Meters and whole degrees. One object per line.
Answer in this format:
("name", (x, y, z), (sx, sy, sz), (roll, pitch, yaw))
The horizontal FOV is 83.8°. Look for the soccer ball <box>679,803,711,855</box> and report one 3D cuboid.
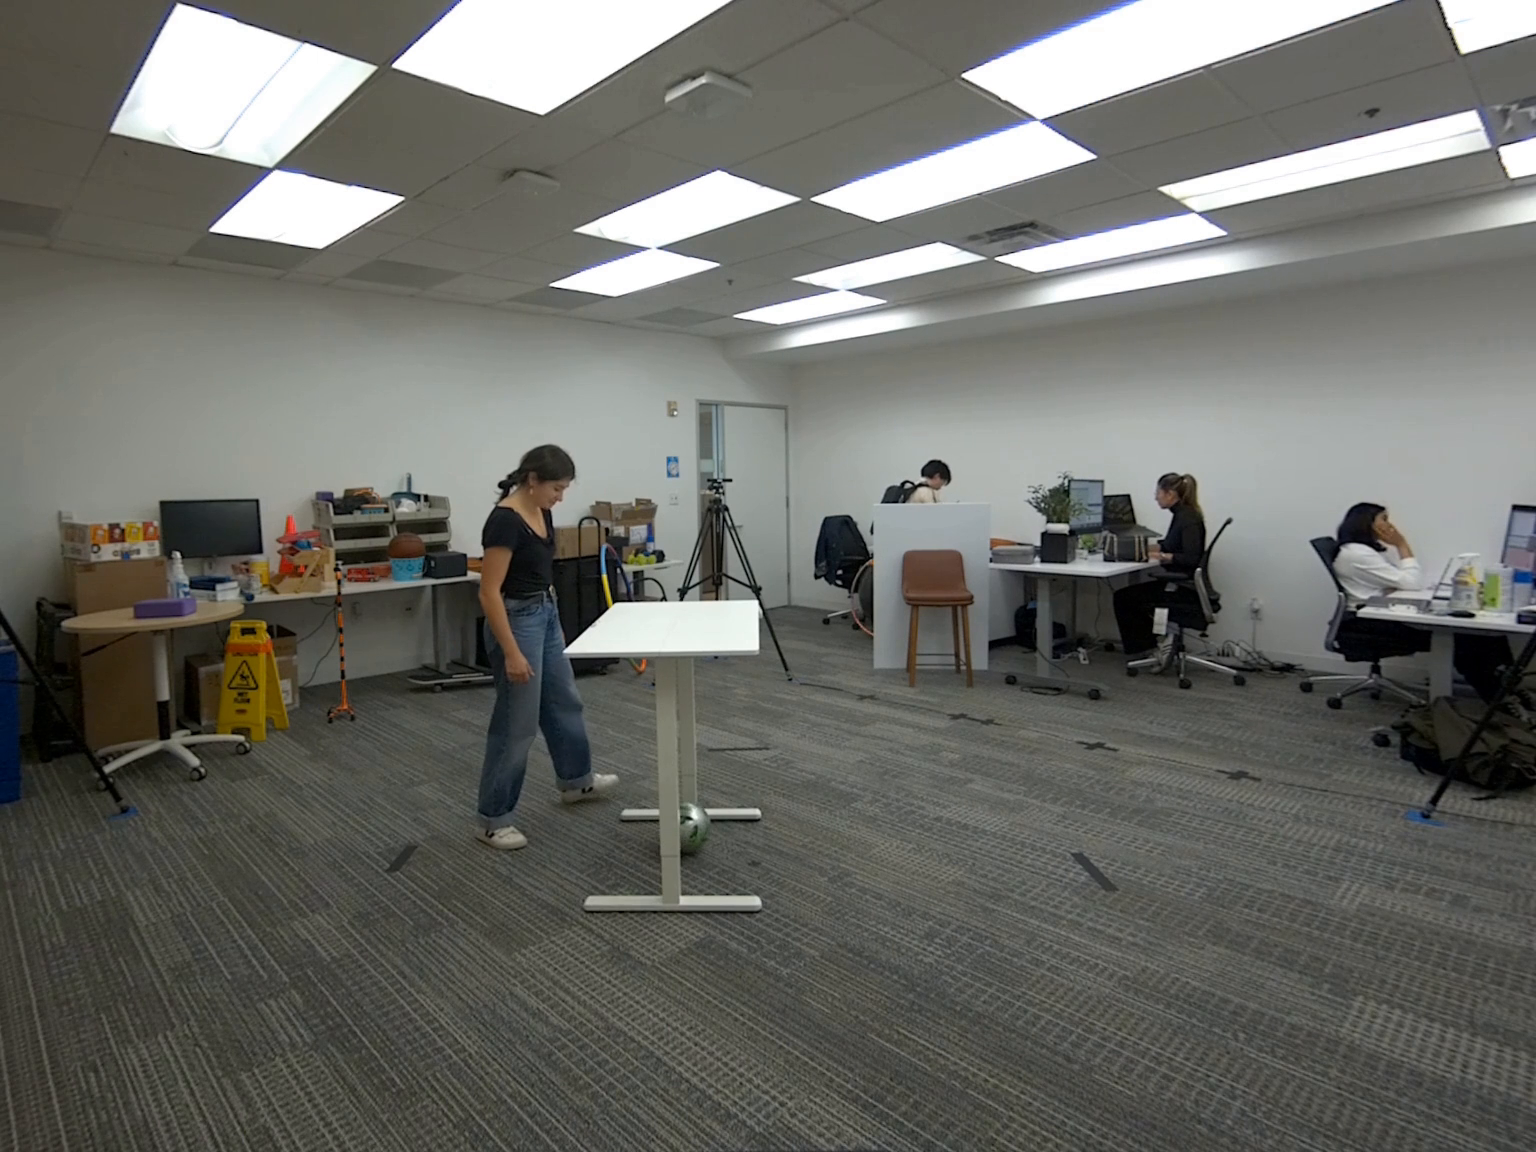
("soccer ball", (-0.307, 0.949, 3.209), (0.187, 0.187, 0.188), (-1, 5, -2))
